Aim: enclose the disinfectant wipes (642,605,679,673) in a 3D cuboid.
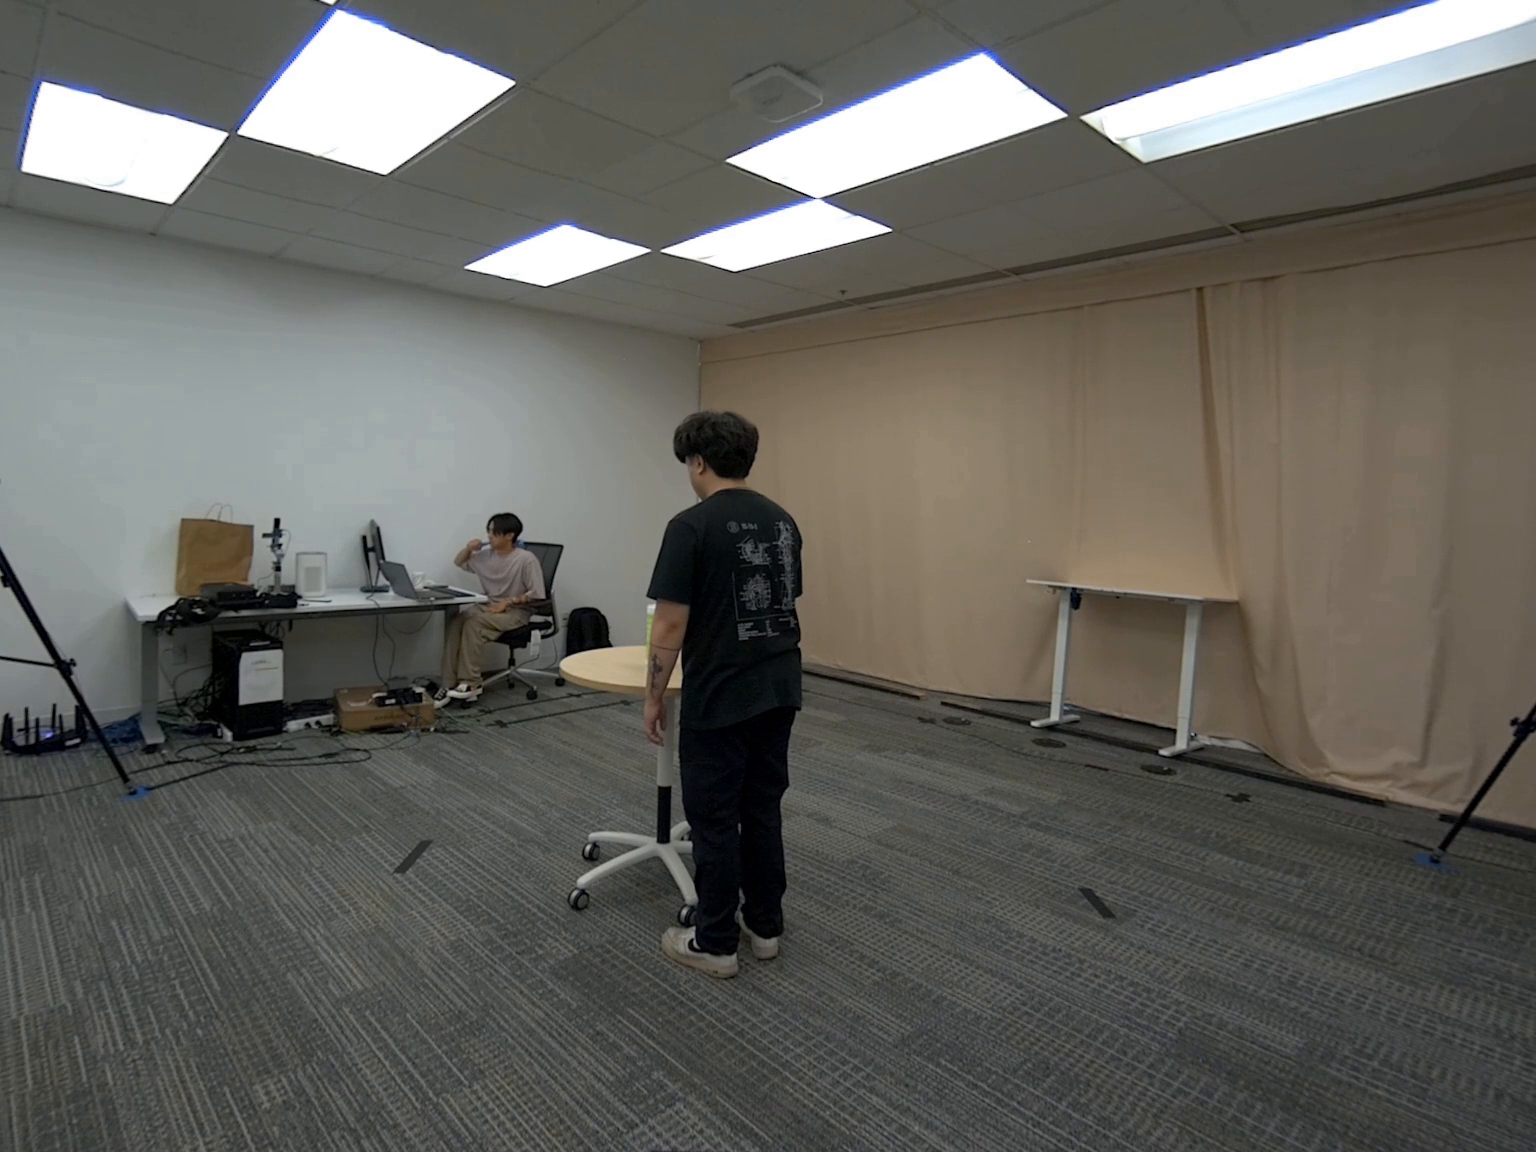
[{"bbox_3d":[-0.380,0.217,2.992,0.118,0.217,0.118,0,4,-1],"label":"disinfectant wipes"}]
